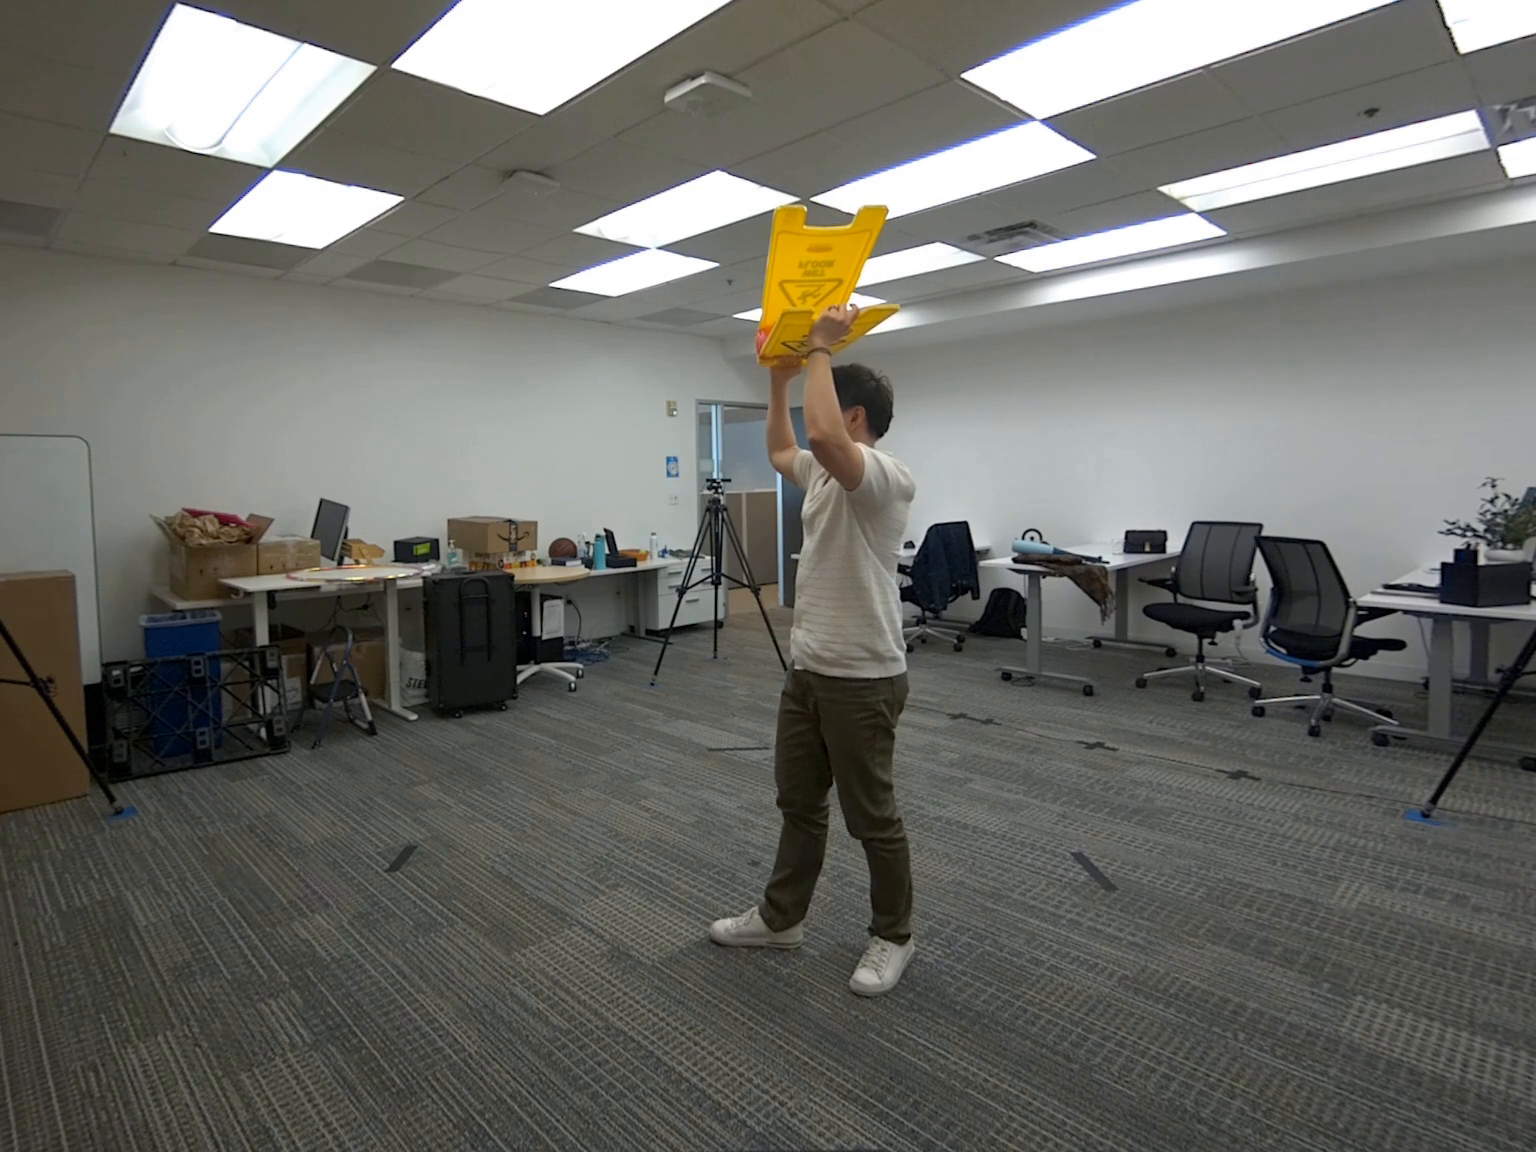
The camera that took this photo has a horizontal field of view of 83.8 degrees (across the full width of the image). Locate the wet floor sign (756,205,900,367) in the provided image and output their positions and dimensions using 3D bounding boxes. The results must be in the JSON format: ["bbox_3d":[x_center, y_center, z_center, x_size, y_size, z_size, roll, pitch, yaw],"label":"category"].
[{"bbox_3d":[0.117,-0.707,2.299,0.280,0.292,0.645,-3,-7,-8],"label":"wet floor sign"}]
